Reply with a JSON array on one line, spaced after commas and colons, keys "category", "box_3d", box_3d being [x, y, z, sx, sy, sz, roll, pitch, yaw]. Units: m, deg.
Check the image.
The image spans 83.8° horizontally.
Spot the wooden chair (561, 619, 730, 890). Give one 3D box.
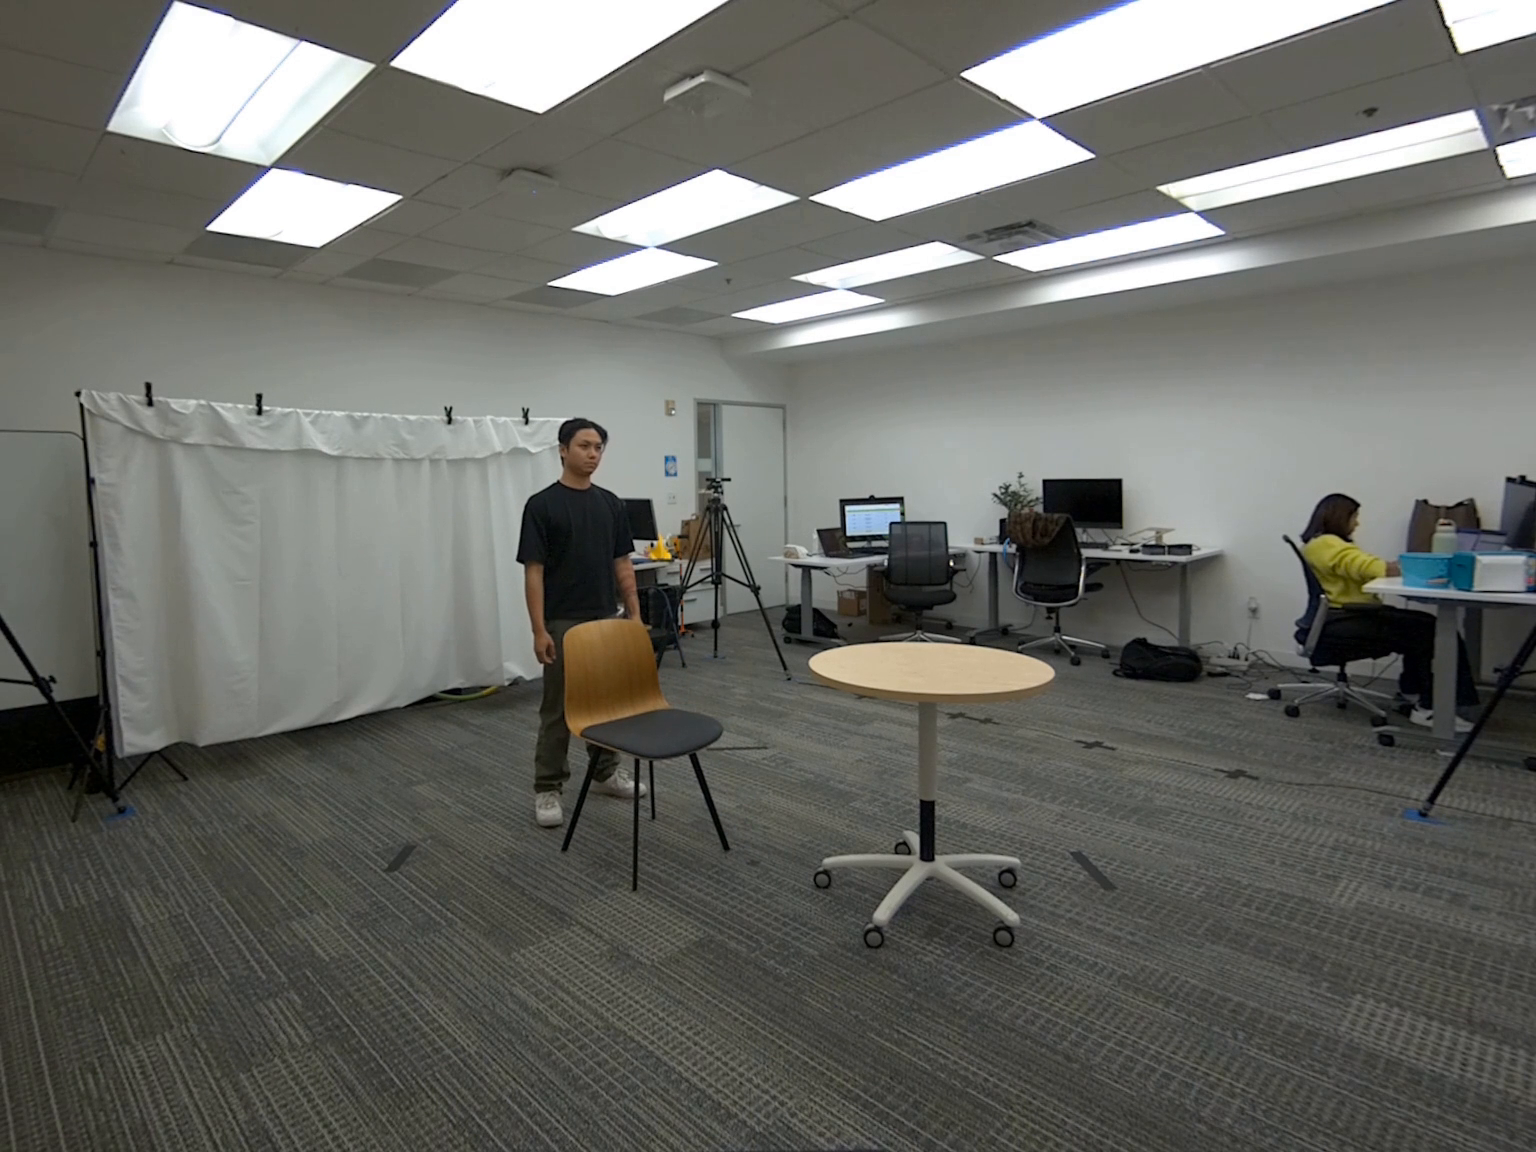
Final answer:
[{"category": "wooden chair", "box_3d": [-0.457, 0.614, 3.182, 0.465, 0.877, 0.538, -4, 1, -45]}]
